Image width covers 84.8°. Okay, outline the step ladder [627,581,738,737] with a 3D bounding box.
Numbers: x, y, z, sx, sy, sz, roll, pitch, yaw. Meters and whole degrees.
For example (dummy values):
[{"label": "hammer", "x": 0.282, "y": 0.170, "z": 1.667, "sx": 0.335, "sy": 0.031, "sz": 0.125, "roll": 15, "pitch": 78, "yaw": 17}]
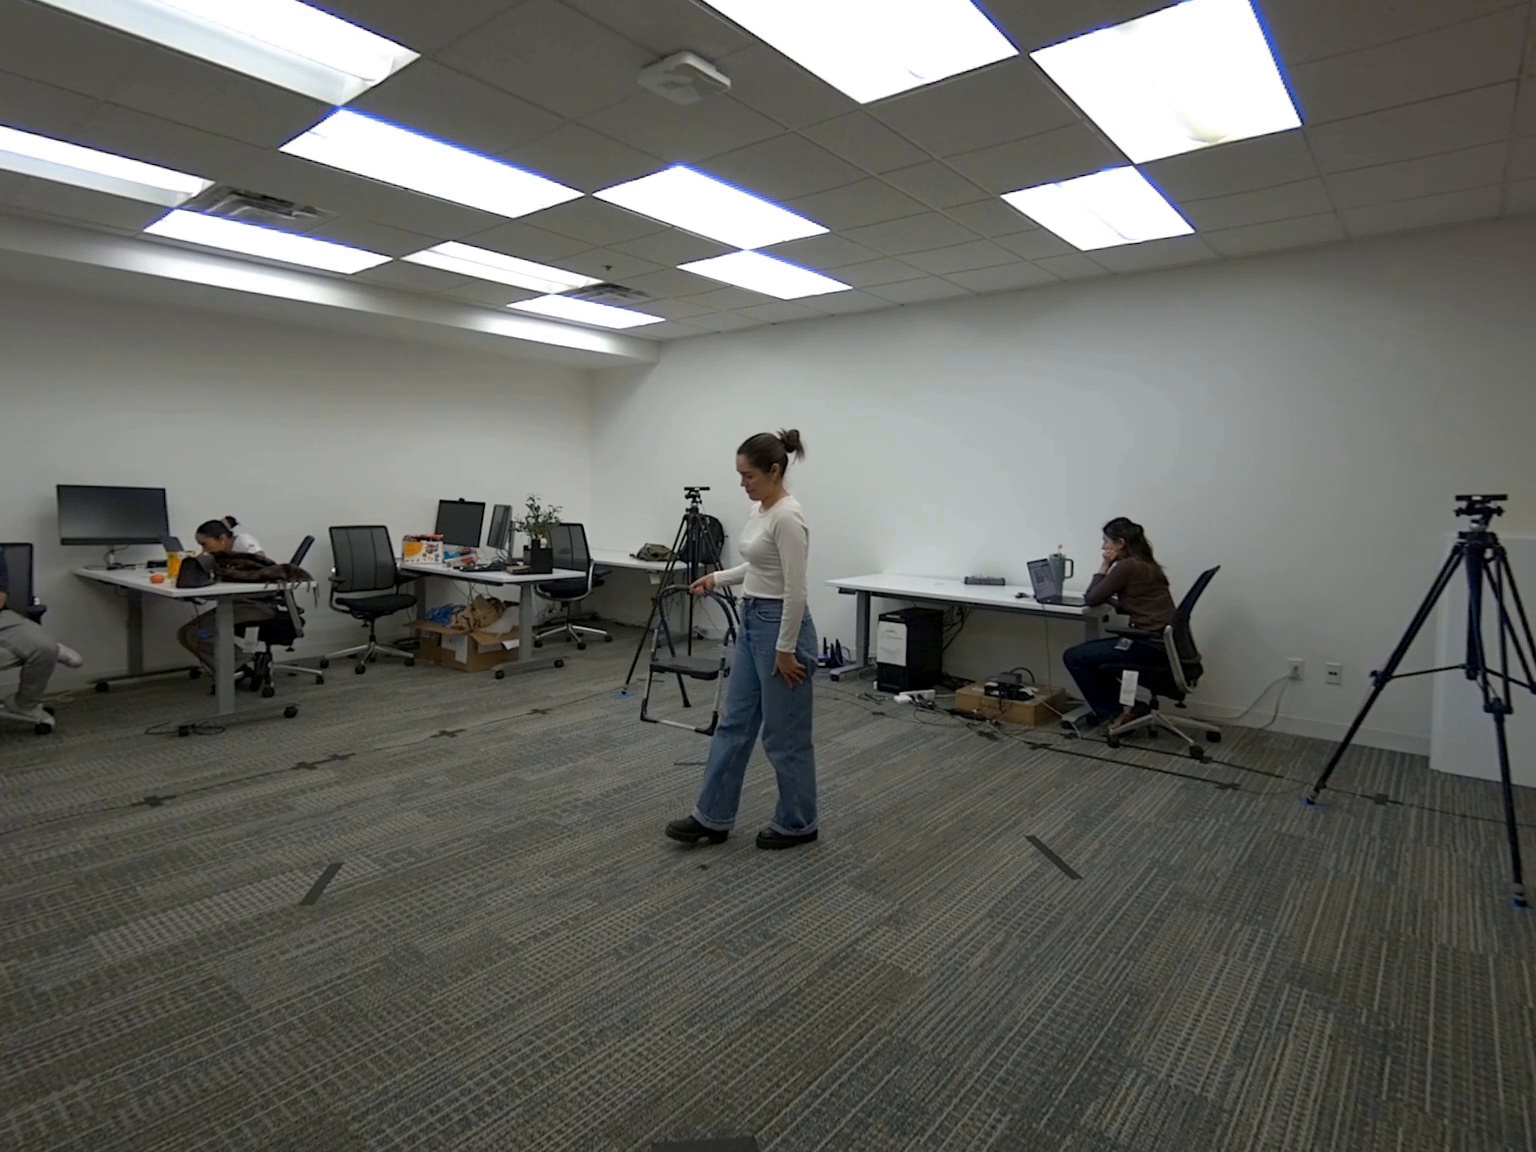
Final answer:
[{"label": "step ladder", "x": -0.323, "y": 0.347, "z": 3.768, "sx": 0.444, "sy": 0.605, "sz": 0.339, "roll": 2, "pitch": 3, "yaw": 35}]
